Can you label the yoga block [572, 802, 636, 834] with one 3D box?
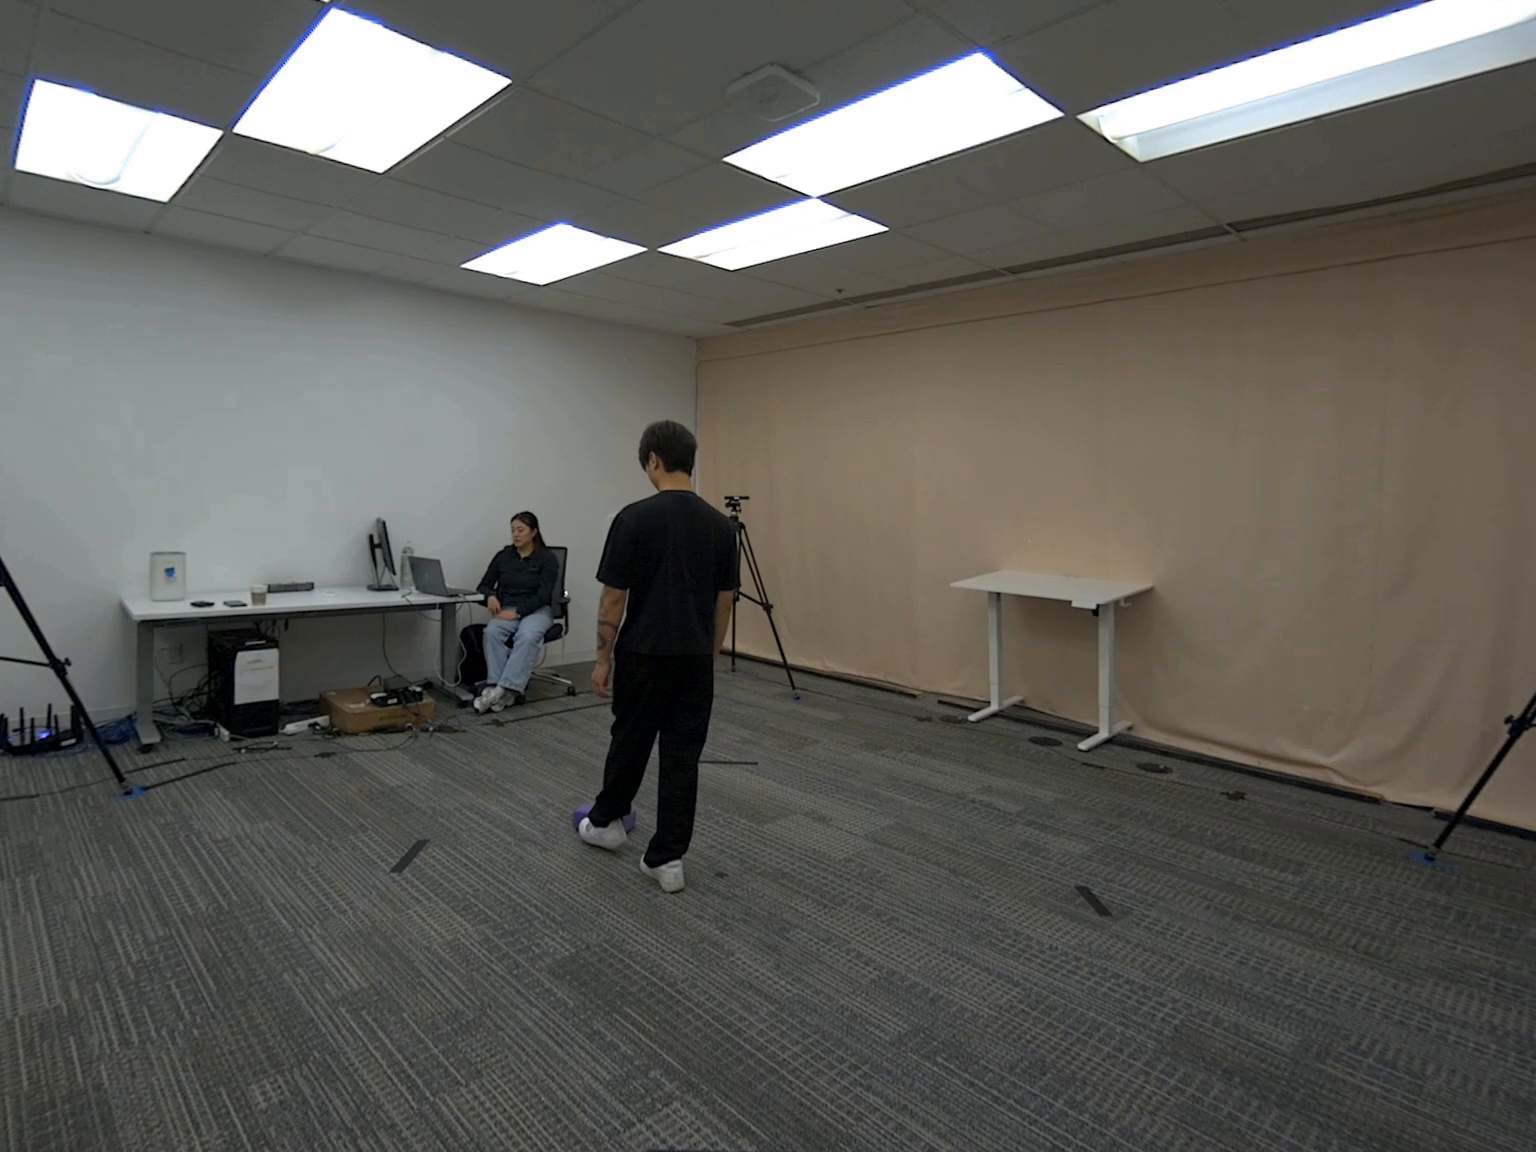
[{"bbox_3d":[-0.690,1.009,3.508,0.232,0.076,0.147,4,-1,14],"label":"yoga block"}]
